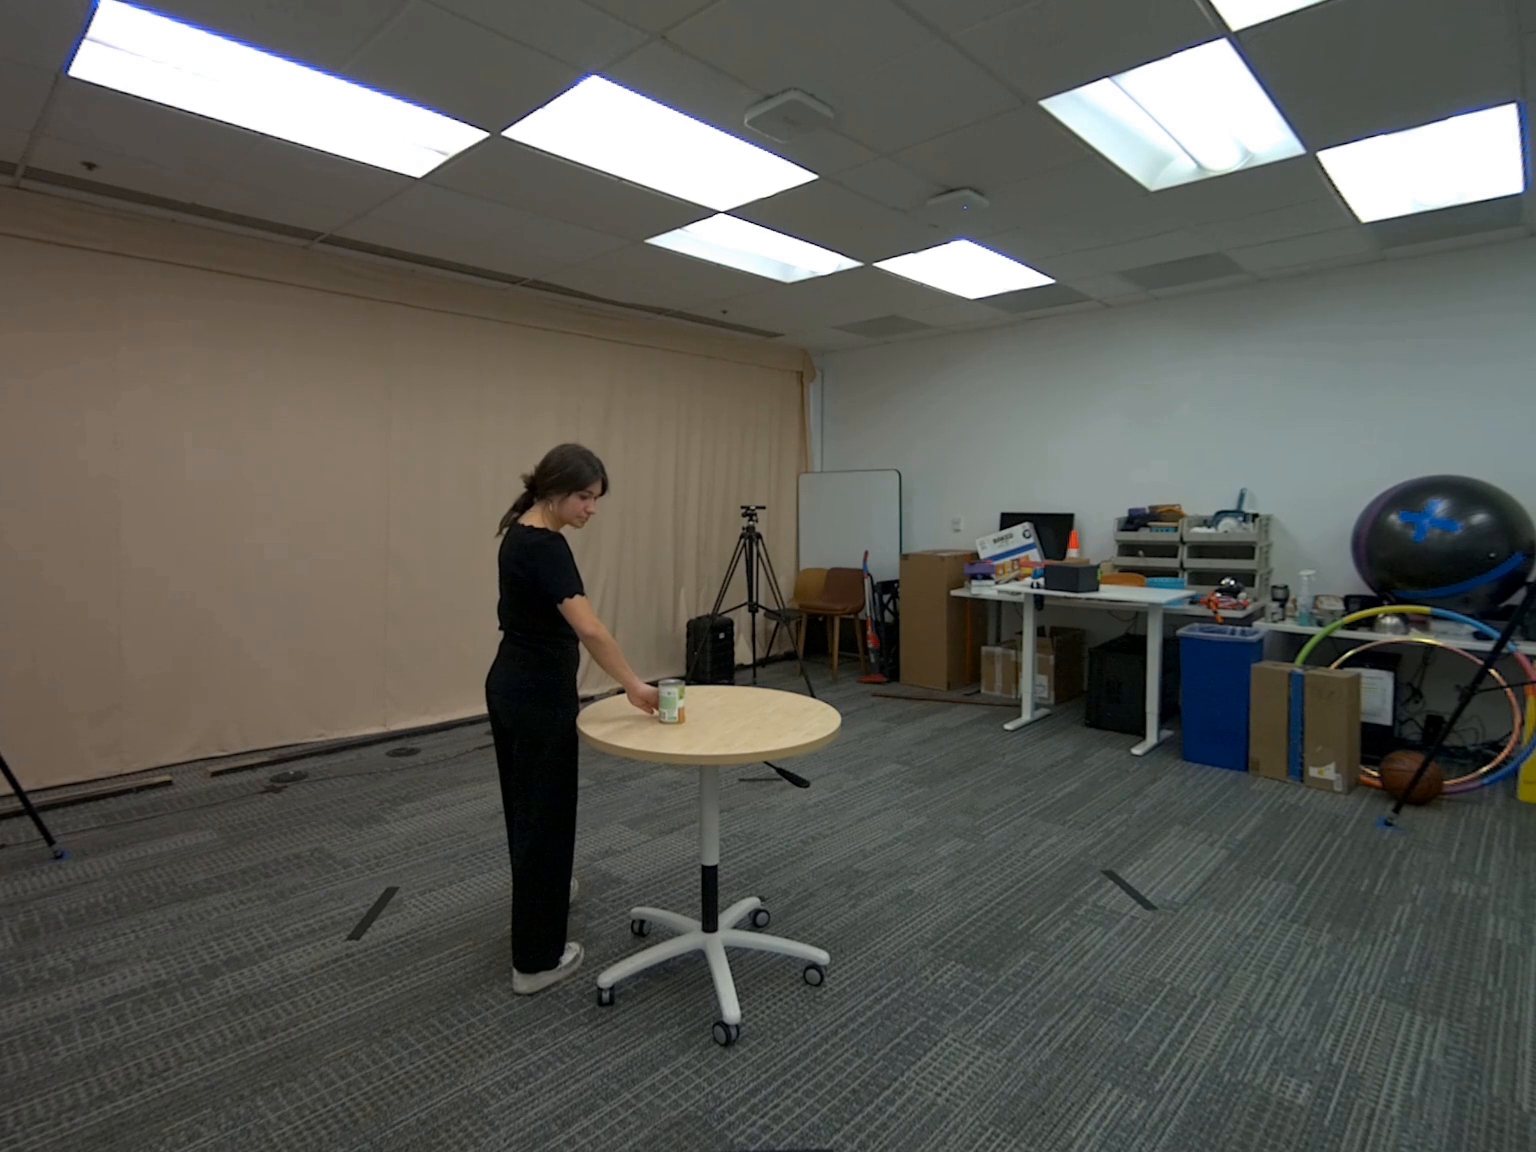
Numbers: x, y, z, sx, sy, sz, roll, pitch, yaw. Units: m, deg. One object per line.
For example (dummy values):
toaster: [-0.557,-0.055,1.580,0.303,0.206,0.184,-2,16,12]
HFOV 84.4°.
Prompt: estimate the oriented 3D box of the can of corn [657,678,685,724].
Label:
can of corn: [-0.278,0.363,2.361,0.074,0.110,0.074,-5,6,-1]
